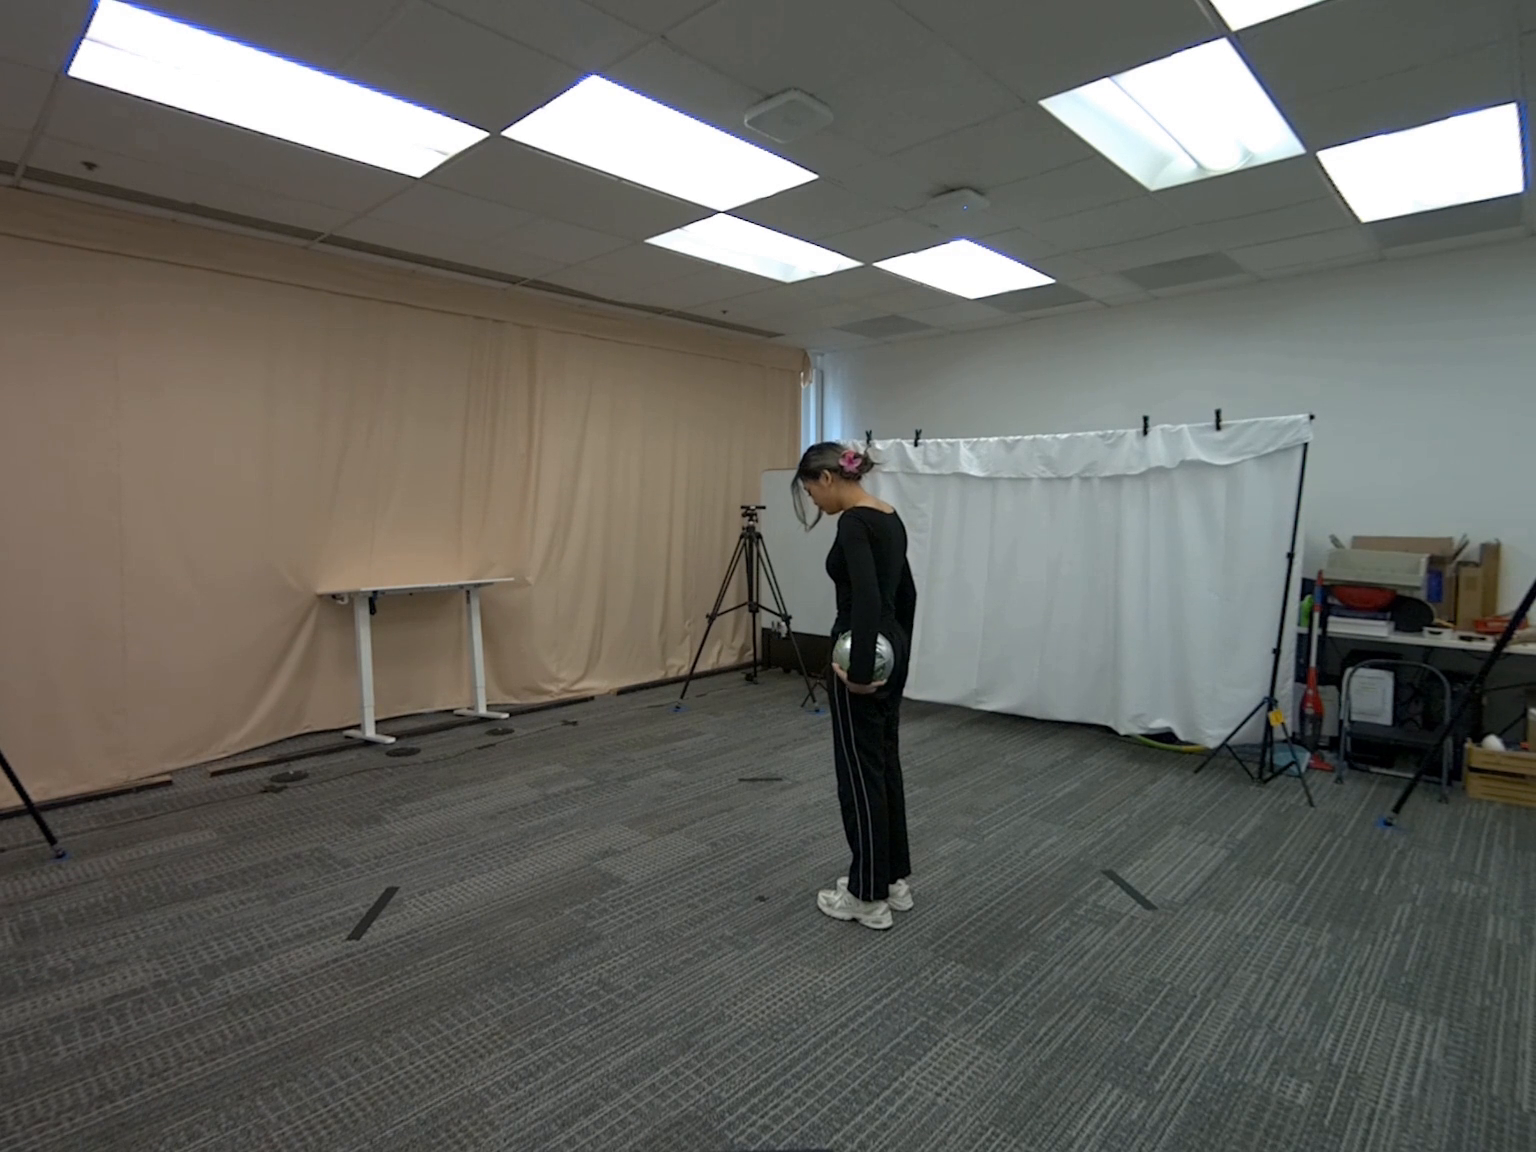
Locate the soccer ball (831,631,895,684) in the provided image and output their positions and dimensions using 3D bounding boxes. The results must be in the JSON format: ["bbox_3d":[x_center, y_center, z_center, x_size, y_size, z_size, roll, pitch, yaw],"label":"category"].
[{"bbox_3d":[0.297,0.253,2.617,0.187,0.187,0.188,0,4,-2],"label":"soccer ball"}]
